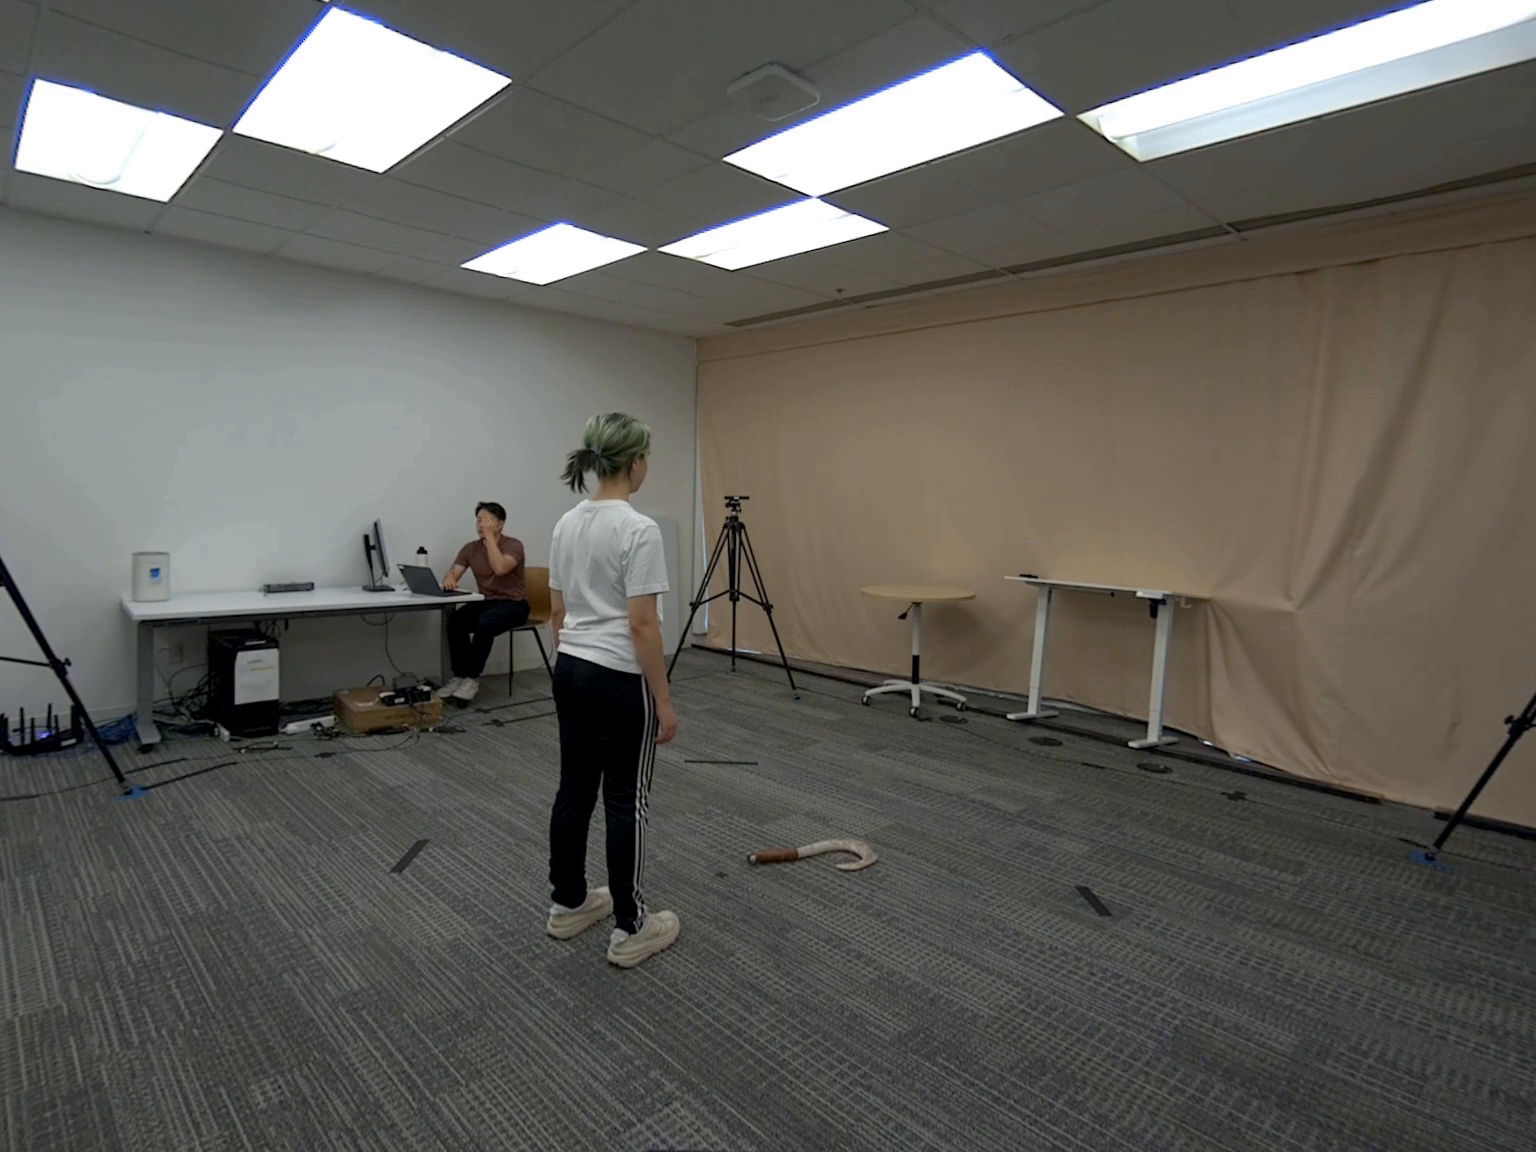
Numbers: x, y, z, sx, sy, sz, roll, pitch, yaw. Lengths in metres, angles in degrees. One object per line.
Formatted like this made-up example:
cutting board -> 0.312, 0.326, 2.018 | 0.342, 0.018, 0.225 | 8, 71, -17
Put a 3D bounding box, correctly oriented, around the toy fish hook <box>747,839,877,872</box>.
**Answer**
toy fish hook -> 0.169, 1.076, 3.223 | 0.499, 0.048, 0.228 | -1, 5, -19
